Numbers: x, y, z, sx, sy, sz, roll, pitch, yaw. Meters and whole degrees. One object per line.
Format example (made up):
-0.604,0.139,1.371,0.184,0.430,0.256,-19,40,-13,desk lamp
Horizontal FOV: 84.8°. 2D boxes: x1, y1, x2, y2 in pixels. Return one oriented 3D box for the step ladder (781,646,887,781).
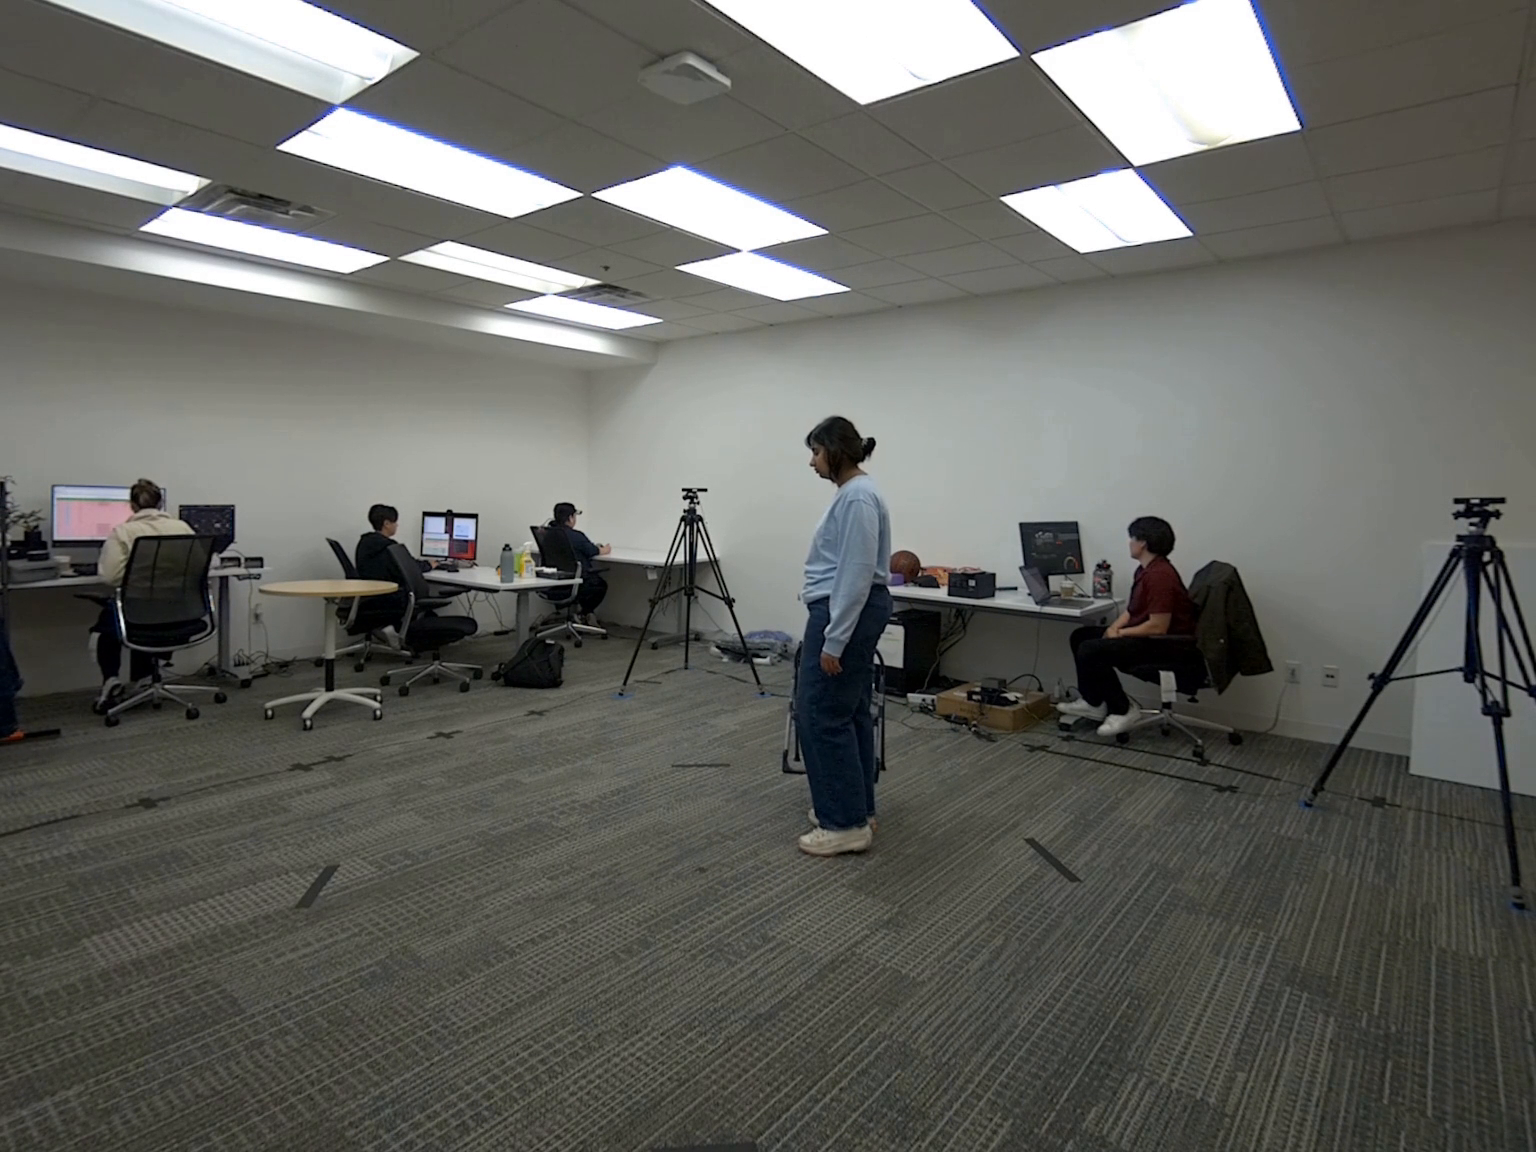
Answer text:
0.304,0.567,3.818,0.438,0.608,0.343,2,-3,14,step ladder
